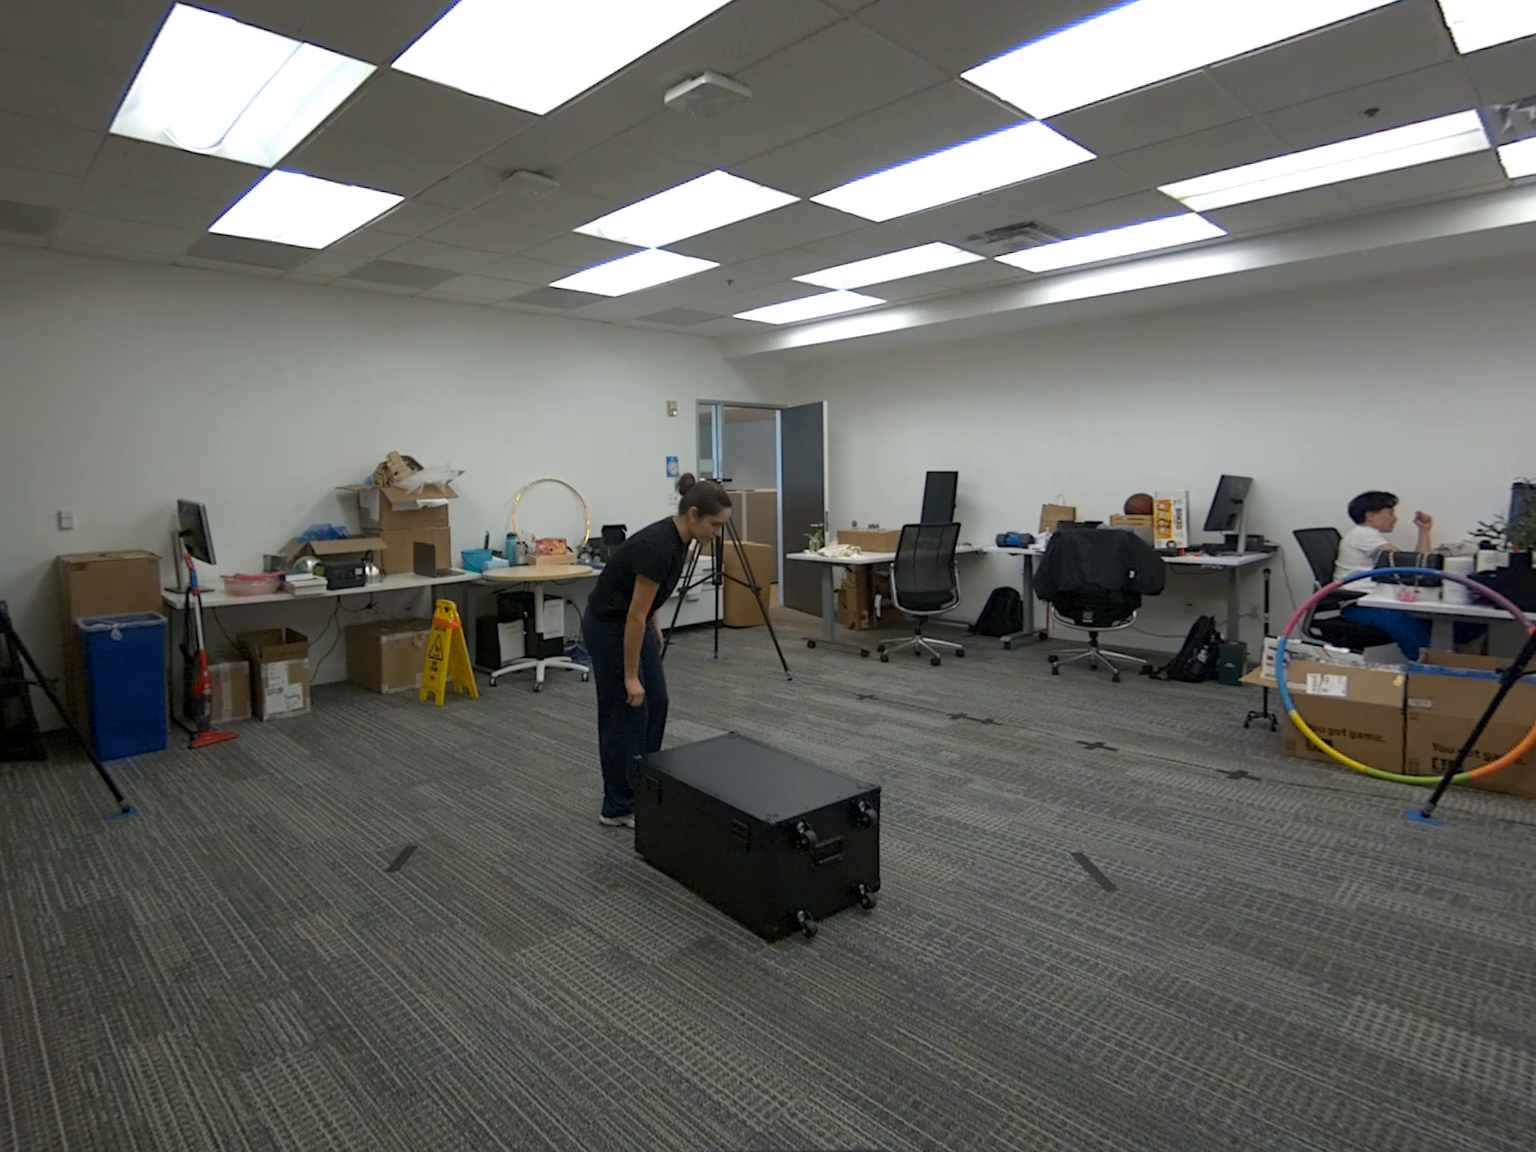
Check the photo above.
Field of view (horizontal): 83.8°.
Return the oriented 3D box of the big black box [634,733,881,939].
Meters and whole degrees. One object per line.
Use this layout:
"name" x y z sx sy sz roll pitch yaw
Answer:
"big black box" -0.075 0.865 3.026 0.508 0.394 0.888 -5 7 -39
